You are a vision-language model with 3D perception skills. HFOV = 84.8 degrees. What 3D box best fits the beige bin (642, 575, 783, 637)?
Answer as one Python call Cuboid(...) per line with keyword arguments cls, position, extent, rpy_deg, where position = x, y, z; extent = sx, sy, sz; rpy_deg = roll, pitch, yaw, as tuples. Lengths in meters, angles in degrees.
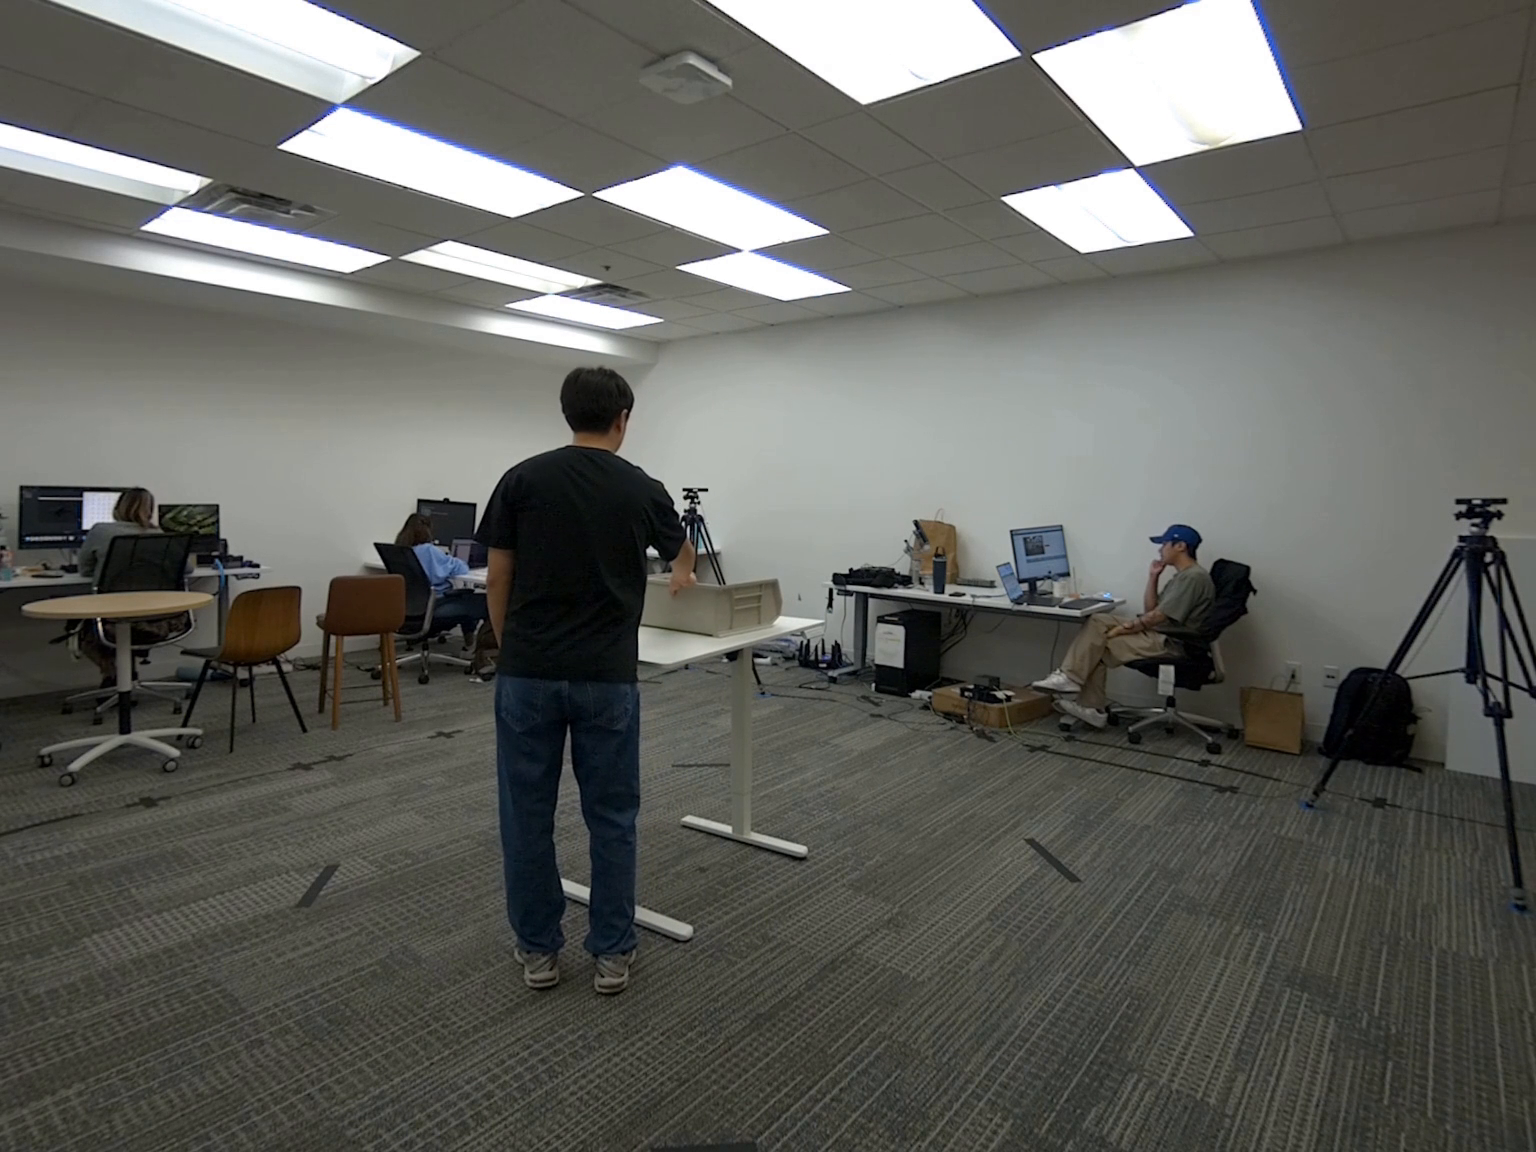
Cuboid(cls="beige bin", position=(-0.235, 0.094, 3.143), extent=(0.436, 0.188, 0.367), rpy_deg=(5, 8, 38))
